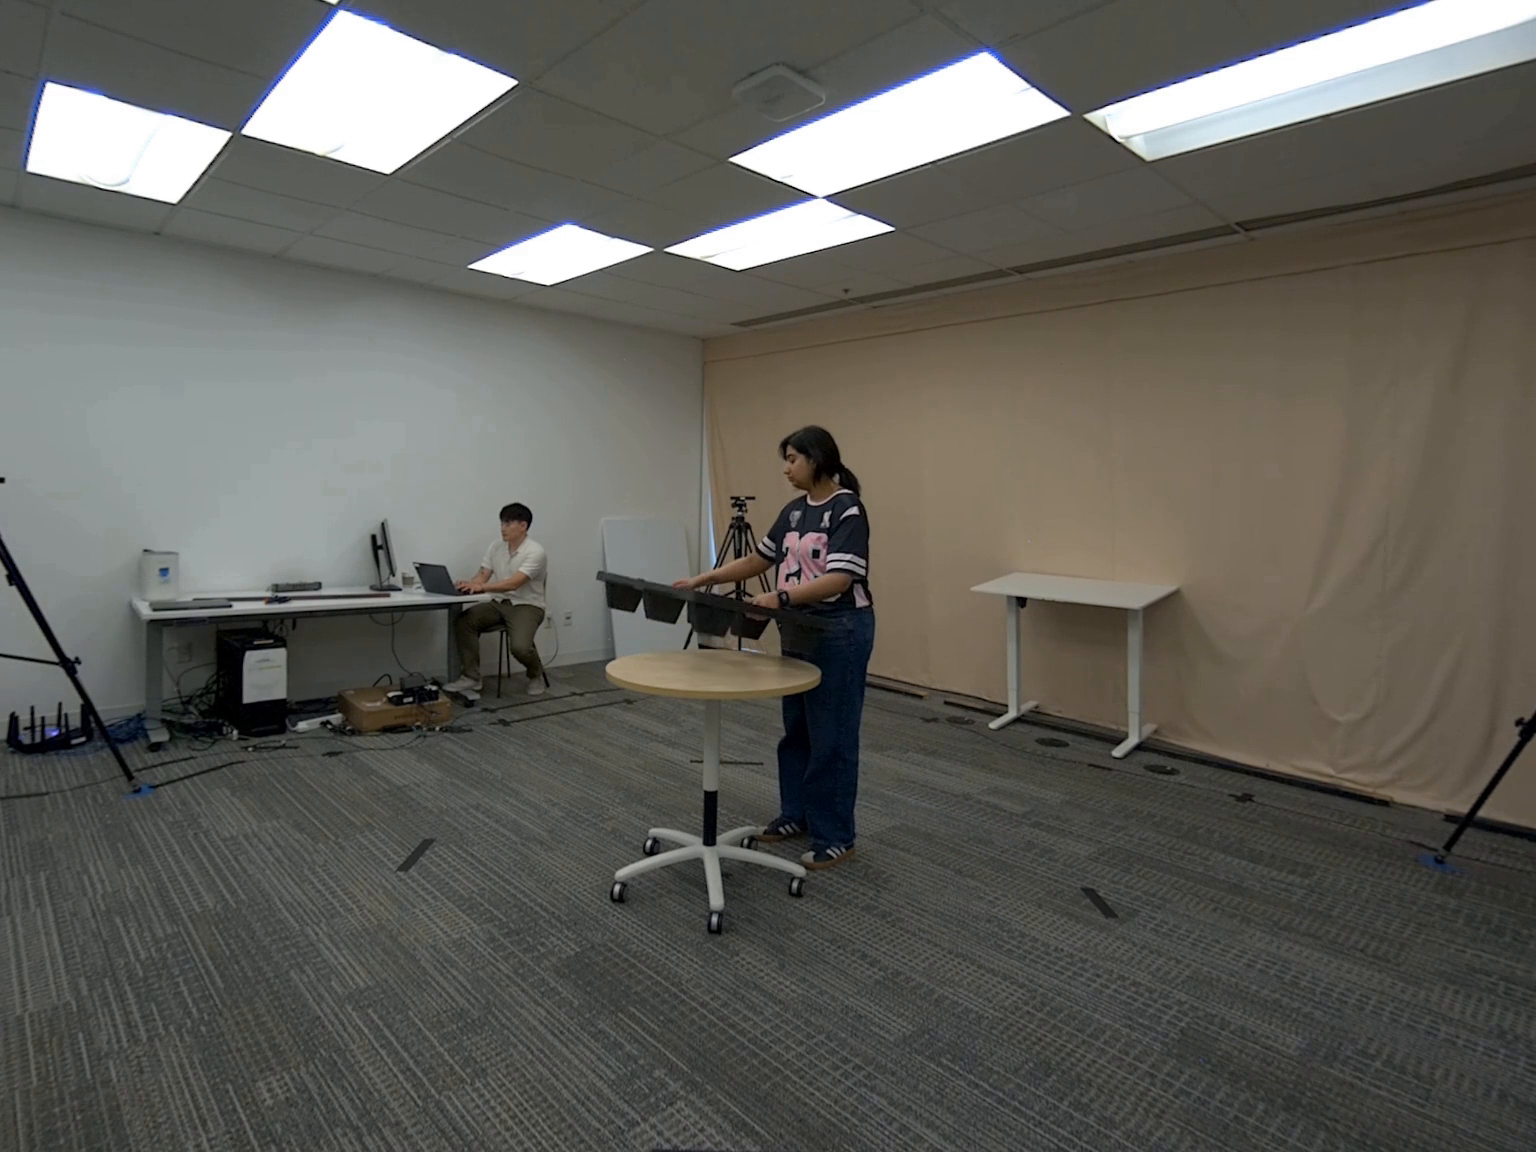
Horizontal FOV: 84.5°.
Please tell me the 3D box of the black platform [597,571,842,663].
[{"bbox_3d":[-0.226,0.135,3.130,0.589,0.143,0.825,15,-3,-33],"label":"black platform"}]
